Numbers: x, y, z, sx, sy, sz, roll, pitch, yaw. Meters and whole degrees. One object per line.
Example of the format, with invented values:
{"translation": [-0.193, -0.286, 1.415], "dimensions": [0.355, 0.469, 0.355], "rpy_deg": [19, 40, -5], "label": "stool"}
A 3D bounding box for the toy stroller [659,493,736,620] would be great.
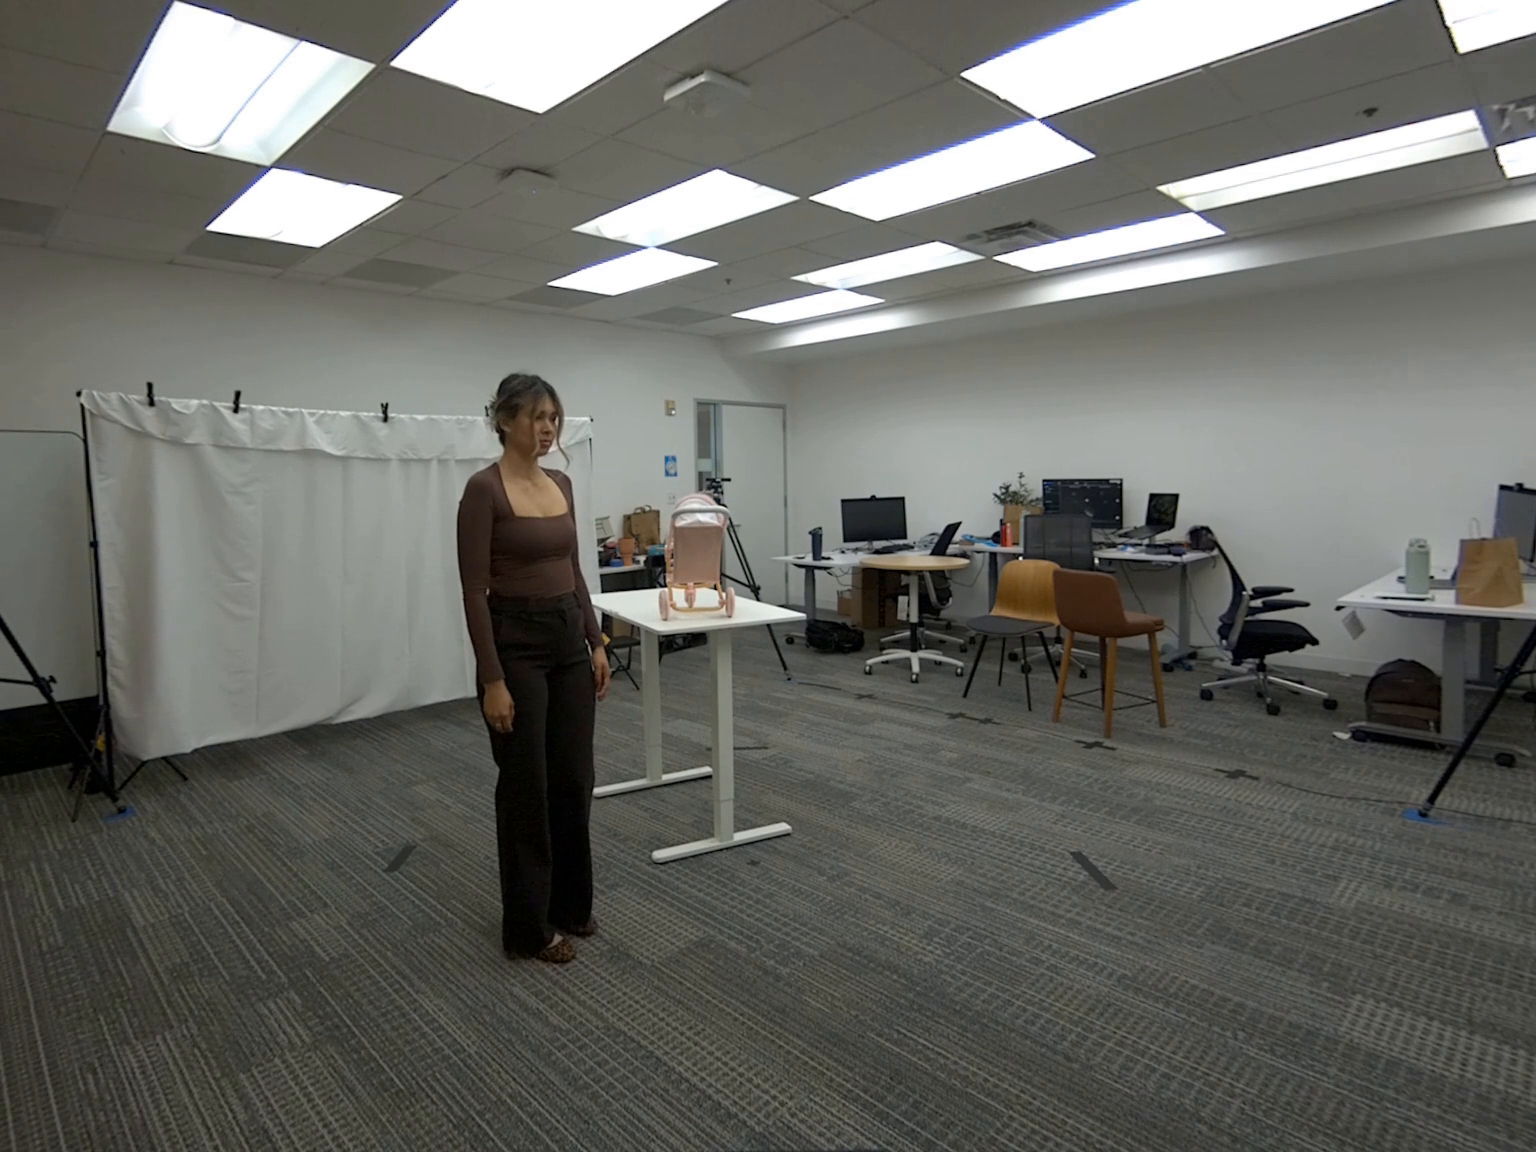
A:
{"translation": [-0.274, -0.070, 3.232], "dimensions": [0.280, 0.525, 0.350], "rpy_deg": [-1, 23, -7], "label": "toy stroller"}
